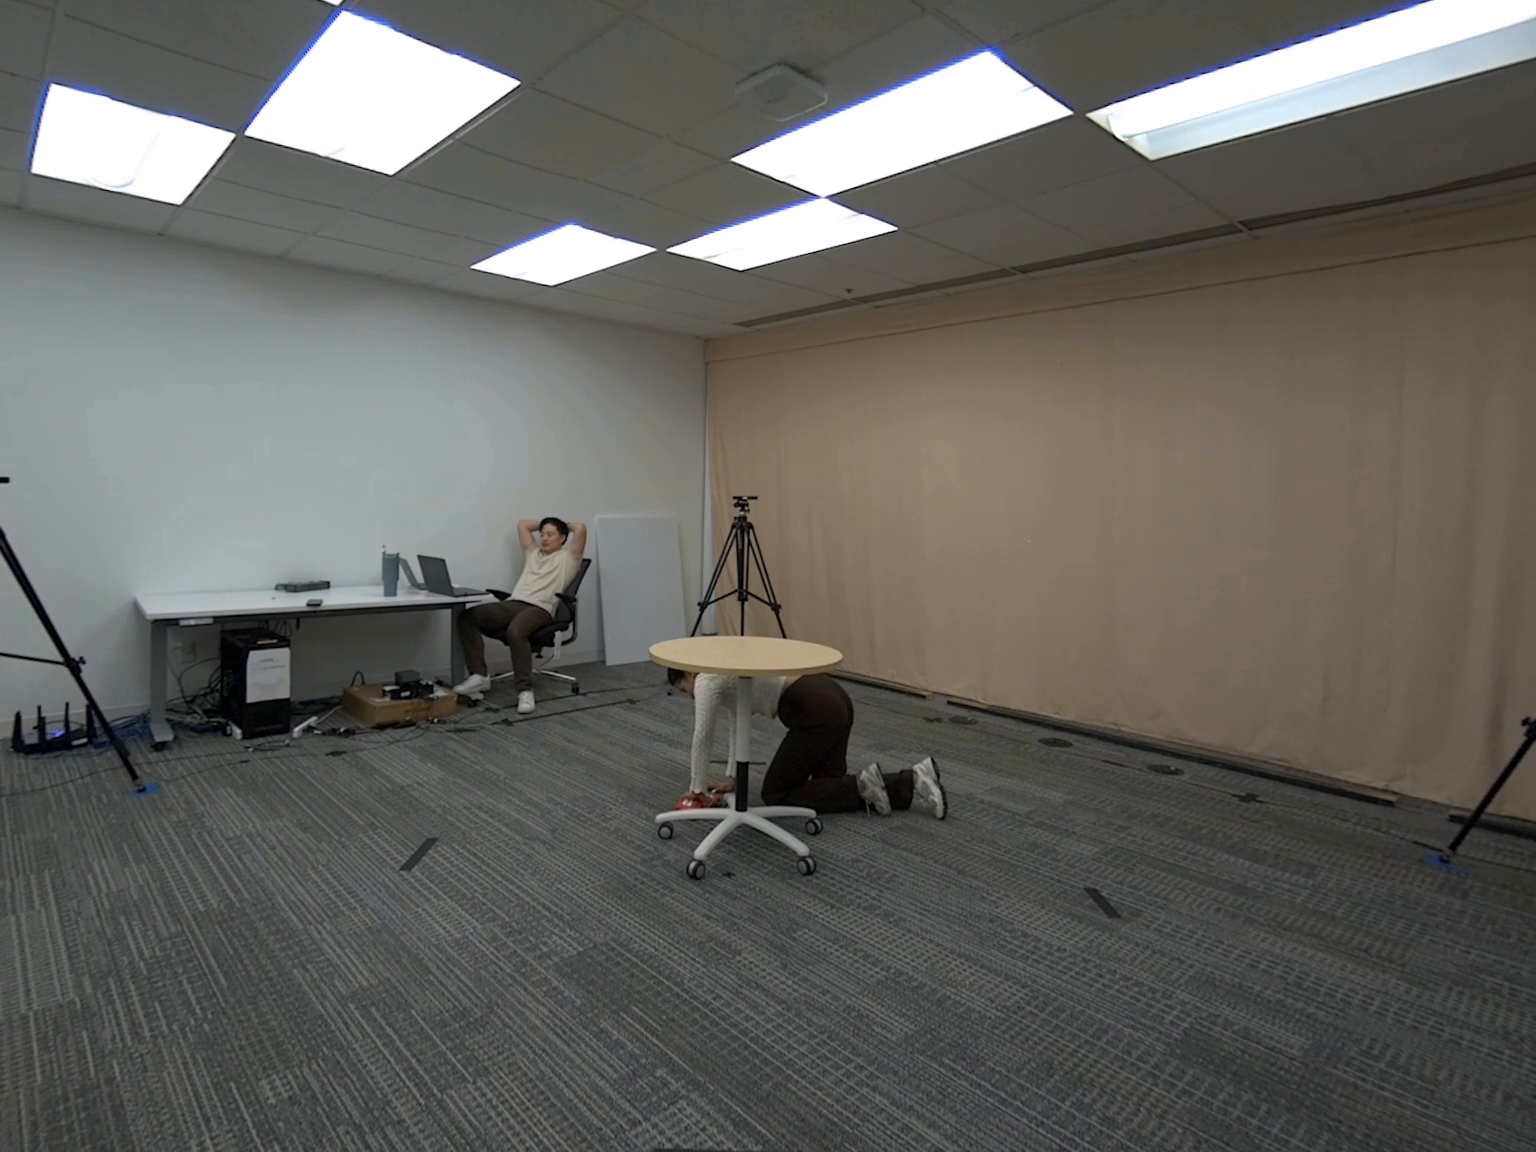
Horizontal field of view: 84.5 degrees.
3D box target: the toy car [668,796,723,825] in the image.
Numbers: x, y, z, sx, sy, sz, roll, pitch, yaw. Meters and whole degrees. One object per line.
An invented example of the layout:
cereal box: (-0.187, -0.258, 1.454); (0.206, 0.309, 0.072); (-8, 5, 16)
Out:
toy car: (-0.317, 1.018, 3.713); (0.133, 0.083, 0.248); (3, -8, 24)
